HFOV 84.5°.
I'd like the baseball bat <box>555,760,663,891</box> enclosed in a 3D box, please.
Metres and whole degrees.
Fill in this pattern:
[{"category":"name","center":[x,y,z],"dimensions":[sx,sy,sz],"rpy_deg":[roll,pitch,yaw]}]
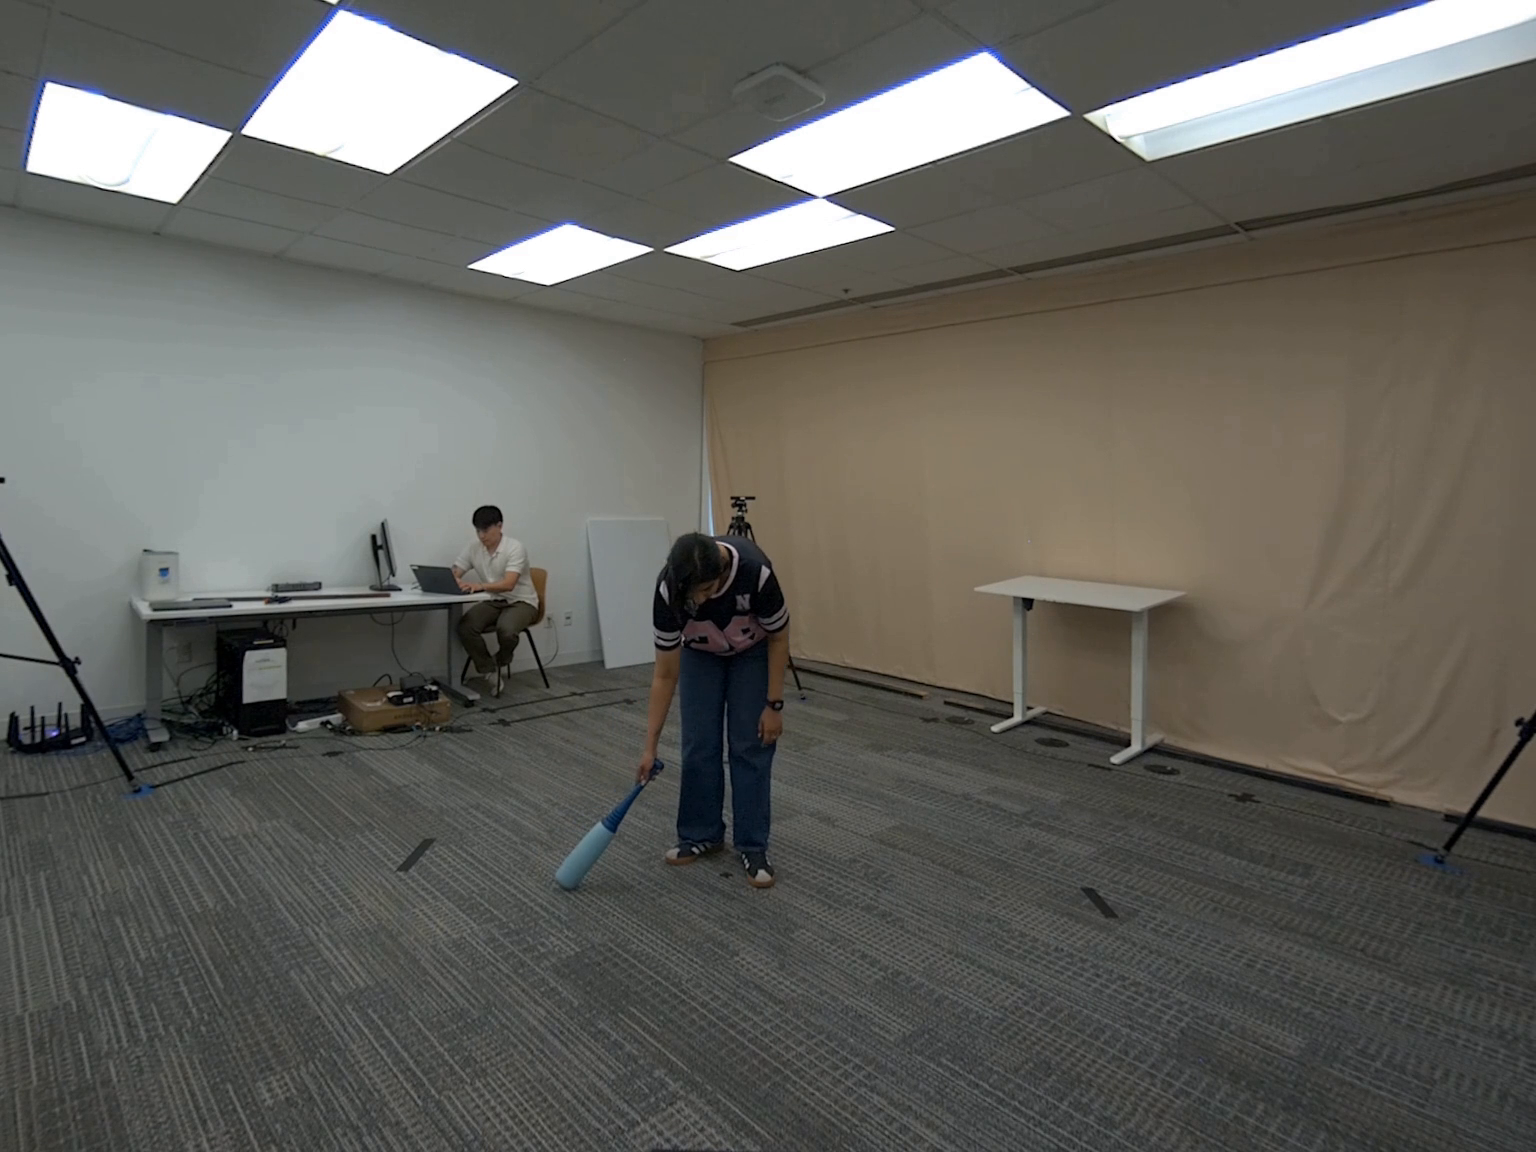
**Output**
[{"category":"baseball bat","center":[-0.556,0.882,2.974],"dimensions":[0.089,0.543,0.089],"rpy_deg":[40,-2,0]}]
